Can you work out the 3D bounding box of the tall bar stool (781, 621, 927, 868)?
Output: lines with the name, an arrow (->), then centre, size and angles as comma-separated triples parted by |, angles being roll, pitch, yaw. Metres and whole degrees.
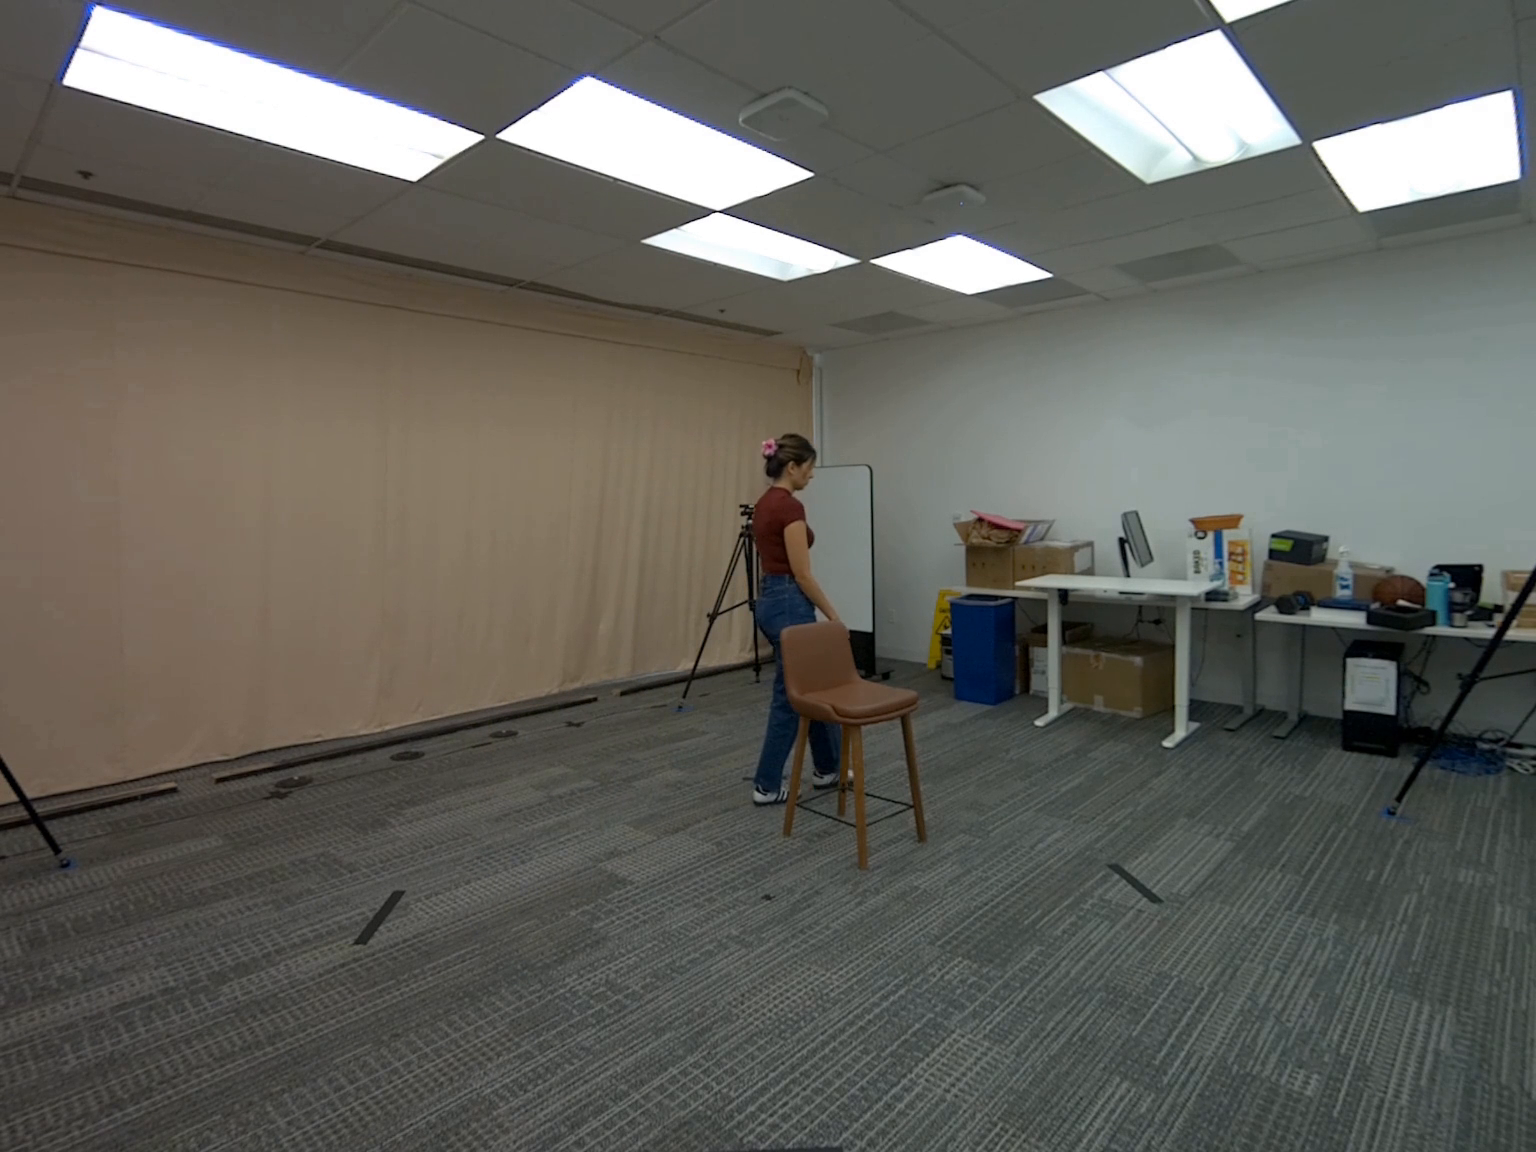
tall bar stool -> 0.343, 0.652, 3.479 | 0.442, 0.889, 0.483 | -3, 2, -43
